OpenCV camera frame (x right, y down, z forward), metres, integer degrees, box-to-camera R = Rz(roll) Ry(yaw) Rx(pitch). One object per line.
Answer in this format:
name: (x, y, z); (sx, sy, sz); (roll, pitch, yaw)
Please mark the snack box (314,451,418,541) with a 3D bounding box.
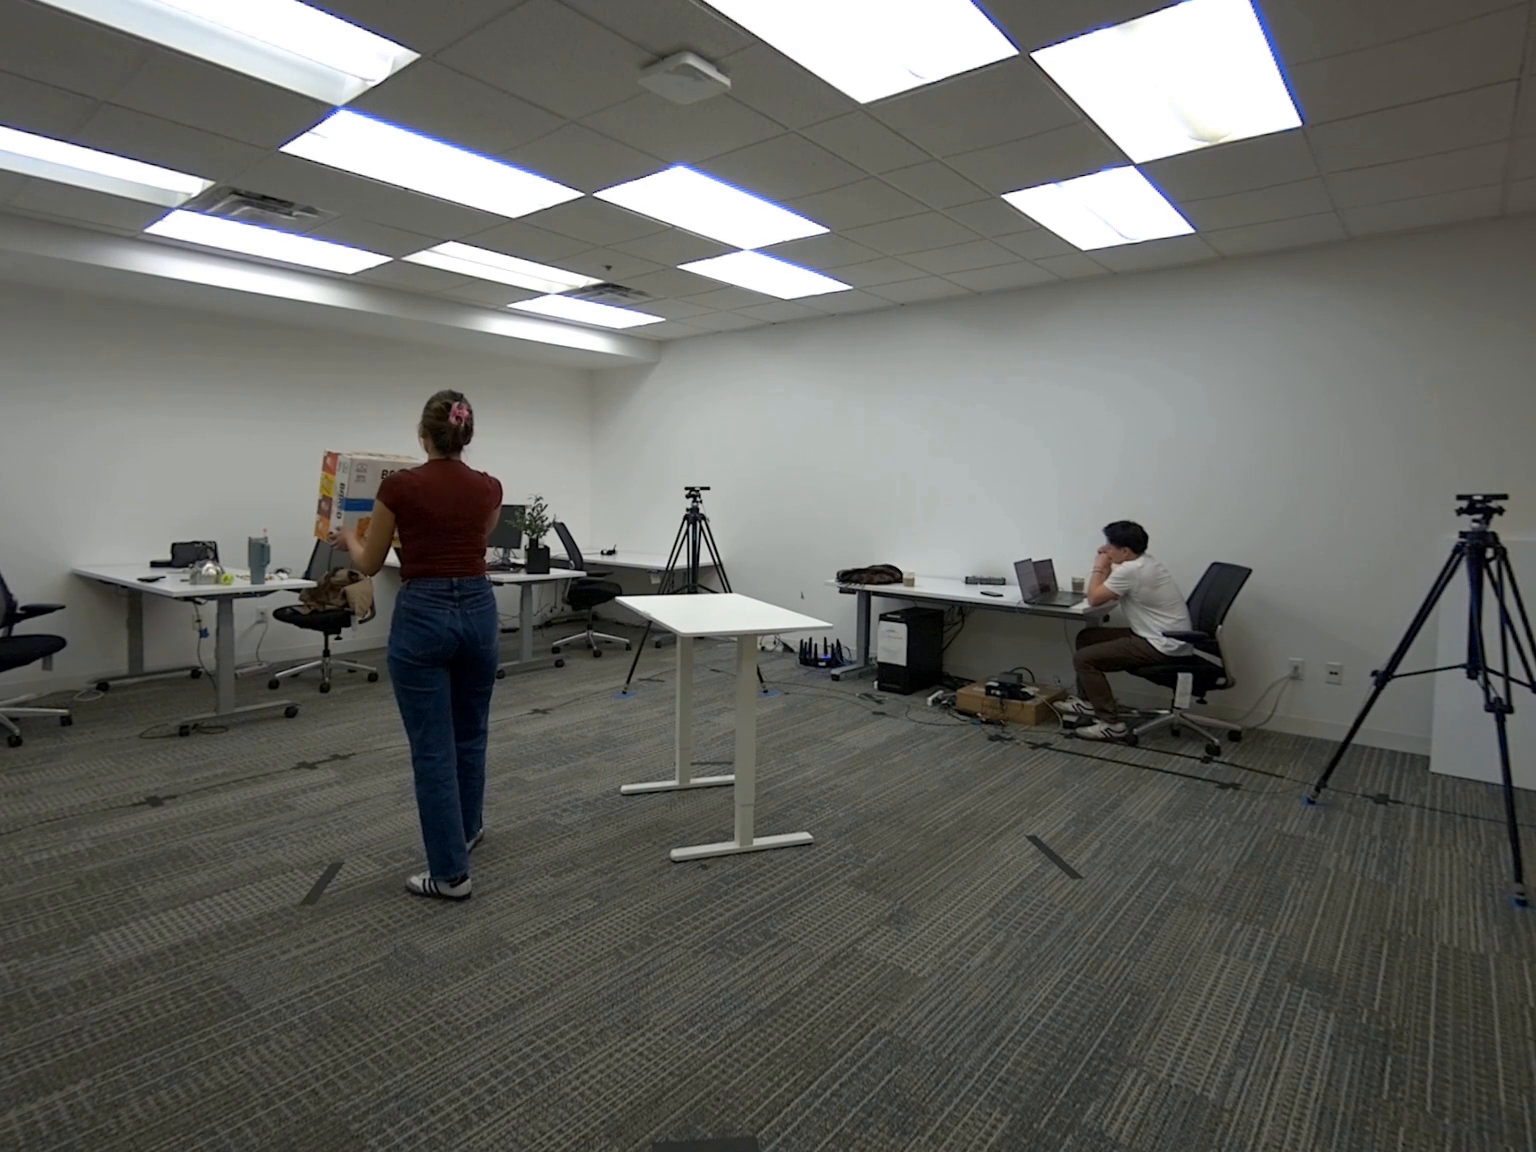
snack box: (-1.526, -0.300, 3.331); (0.213, 0.338, 0.393); (18, 11, 35)
